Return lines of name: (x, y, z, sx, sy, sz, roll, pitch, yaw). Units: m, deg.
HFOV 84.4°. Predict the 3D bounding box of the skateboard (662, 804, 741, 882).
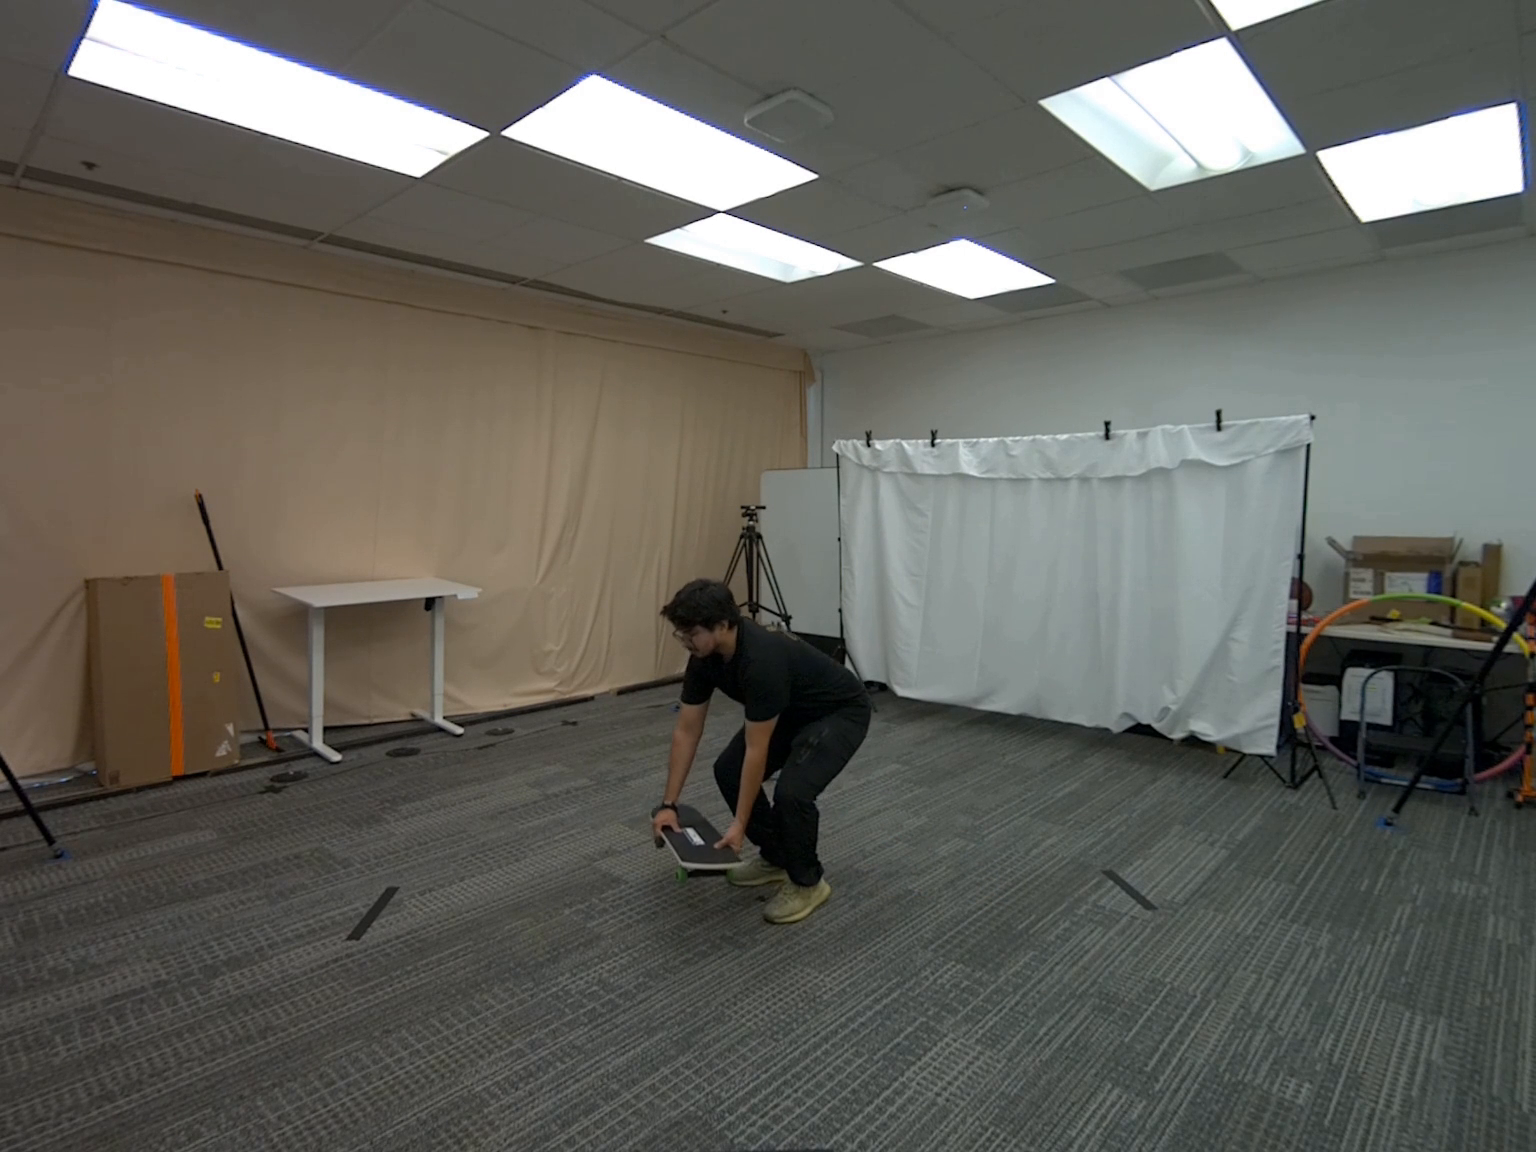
skateboard: (-0.252, 0.901, 2.804, 0.190, 0.110, 0.797, 3, -3, -17)
